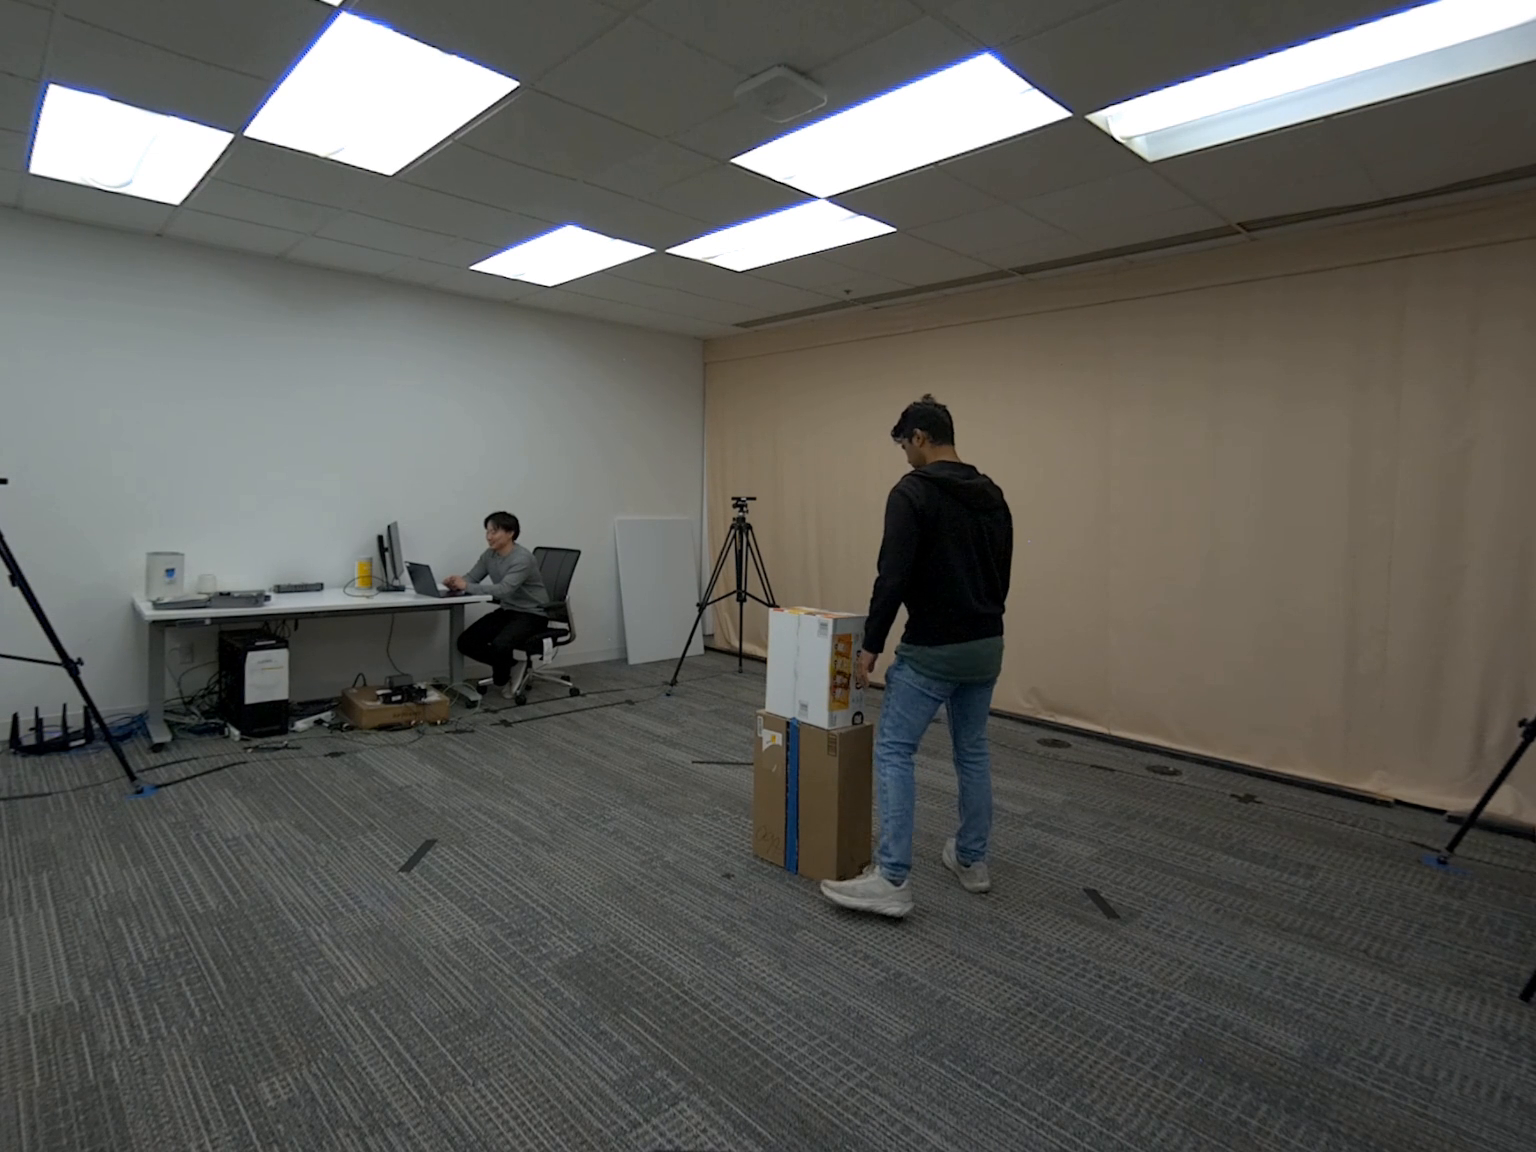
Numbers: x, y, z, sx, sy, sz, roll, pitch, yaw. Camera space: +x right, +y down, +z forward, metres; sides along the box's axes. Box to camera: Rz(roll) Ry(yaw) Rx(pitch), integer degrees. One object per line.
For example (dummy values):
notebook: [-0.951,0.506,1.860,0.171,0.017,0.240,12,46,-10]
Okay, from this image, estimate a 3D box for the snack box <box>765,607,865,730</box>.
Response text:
snack box: [0.177,0.335,3.194,0.201,0.404,0.349,0,4,-42]
